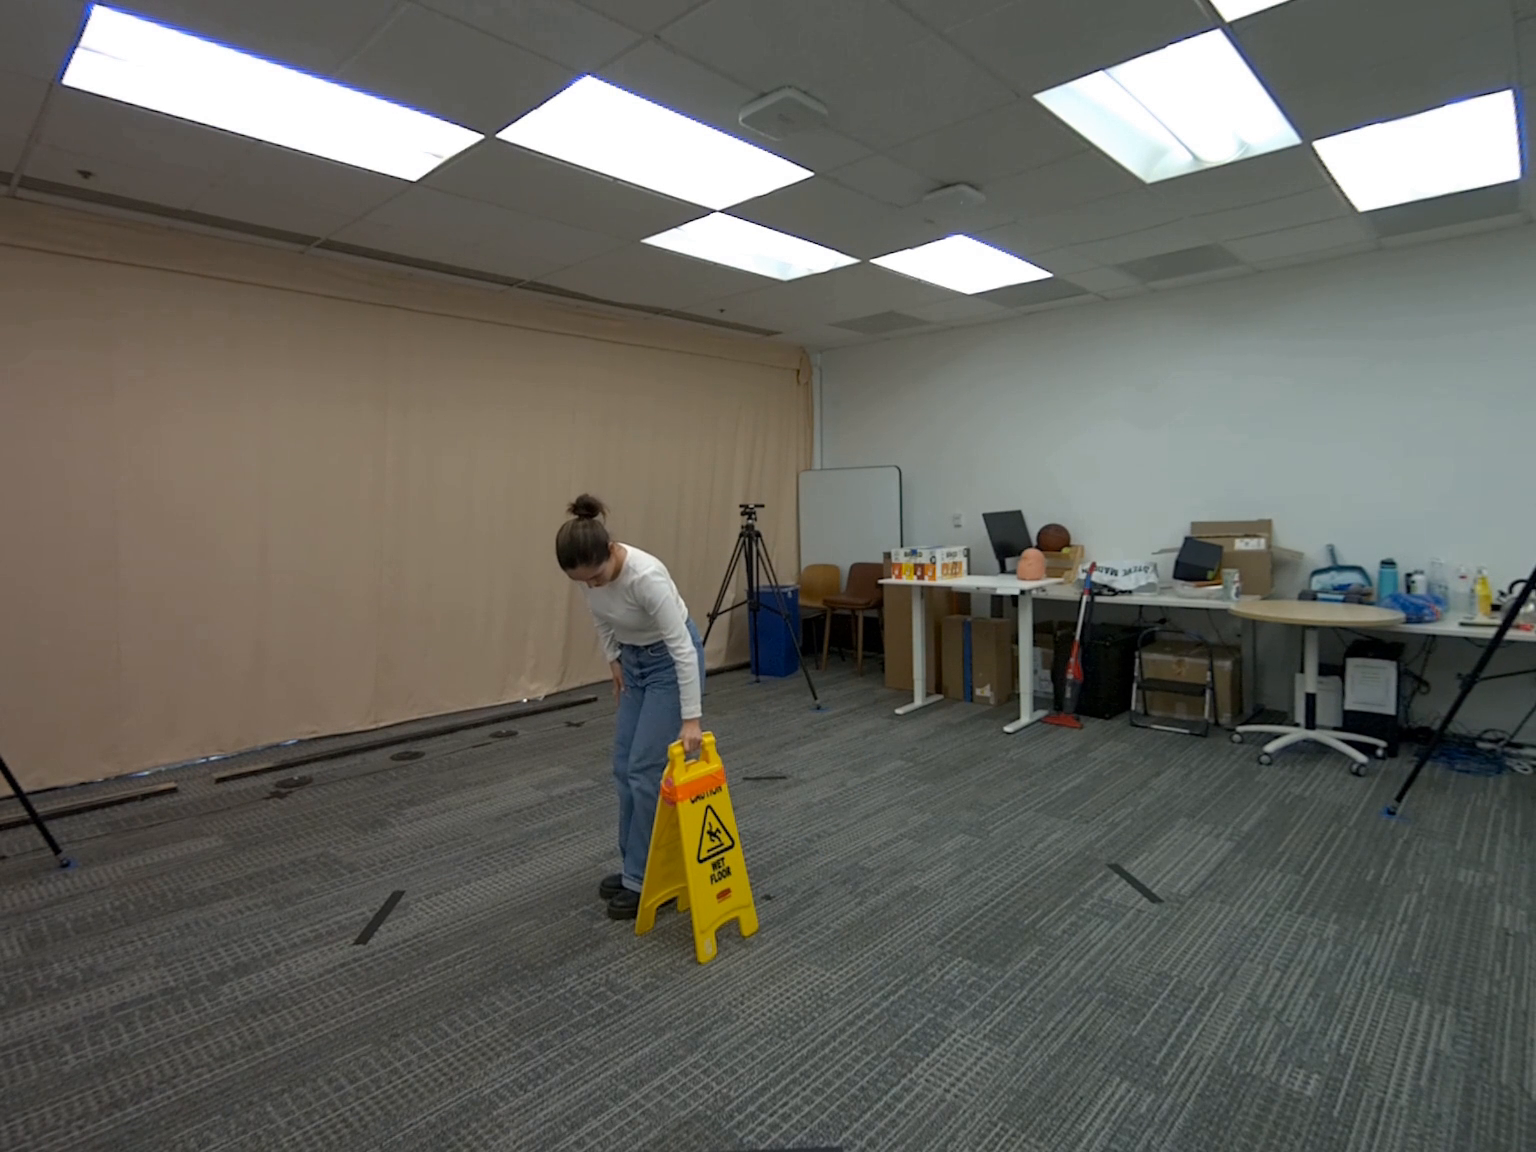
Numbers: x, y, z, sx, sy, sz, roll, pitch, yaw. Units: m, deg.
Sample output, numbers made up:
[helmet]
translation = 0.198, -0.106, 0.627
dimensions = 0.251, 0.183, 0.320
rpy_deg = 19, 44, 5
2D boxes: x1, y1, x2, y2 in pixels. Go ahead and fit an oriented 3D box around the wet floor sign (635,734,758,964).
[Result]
[wet floor sign]
translation = -0.238, 0.844, 2.731
dimensions = 0.299, 0.645, 0.274
rpy_deg = 0, 3, 38
